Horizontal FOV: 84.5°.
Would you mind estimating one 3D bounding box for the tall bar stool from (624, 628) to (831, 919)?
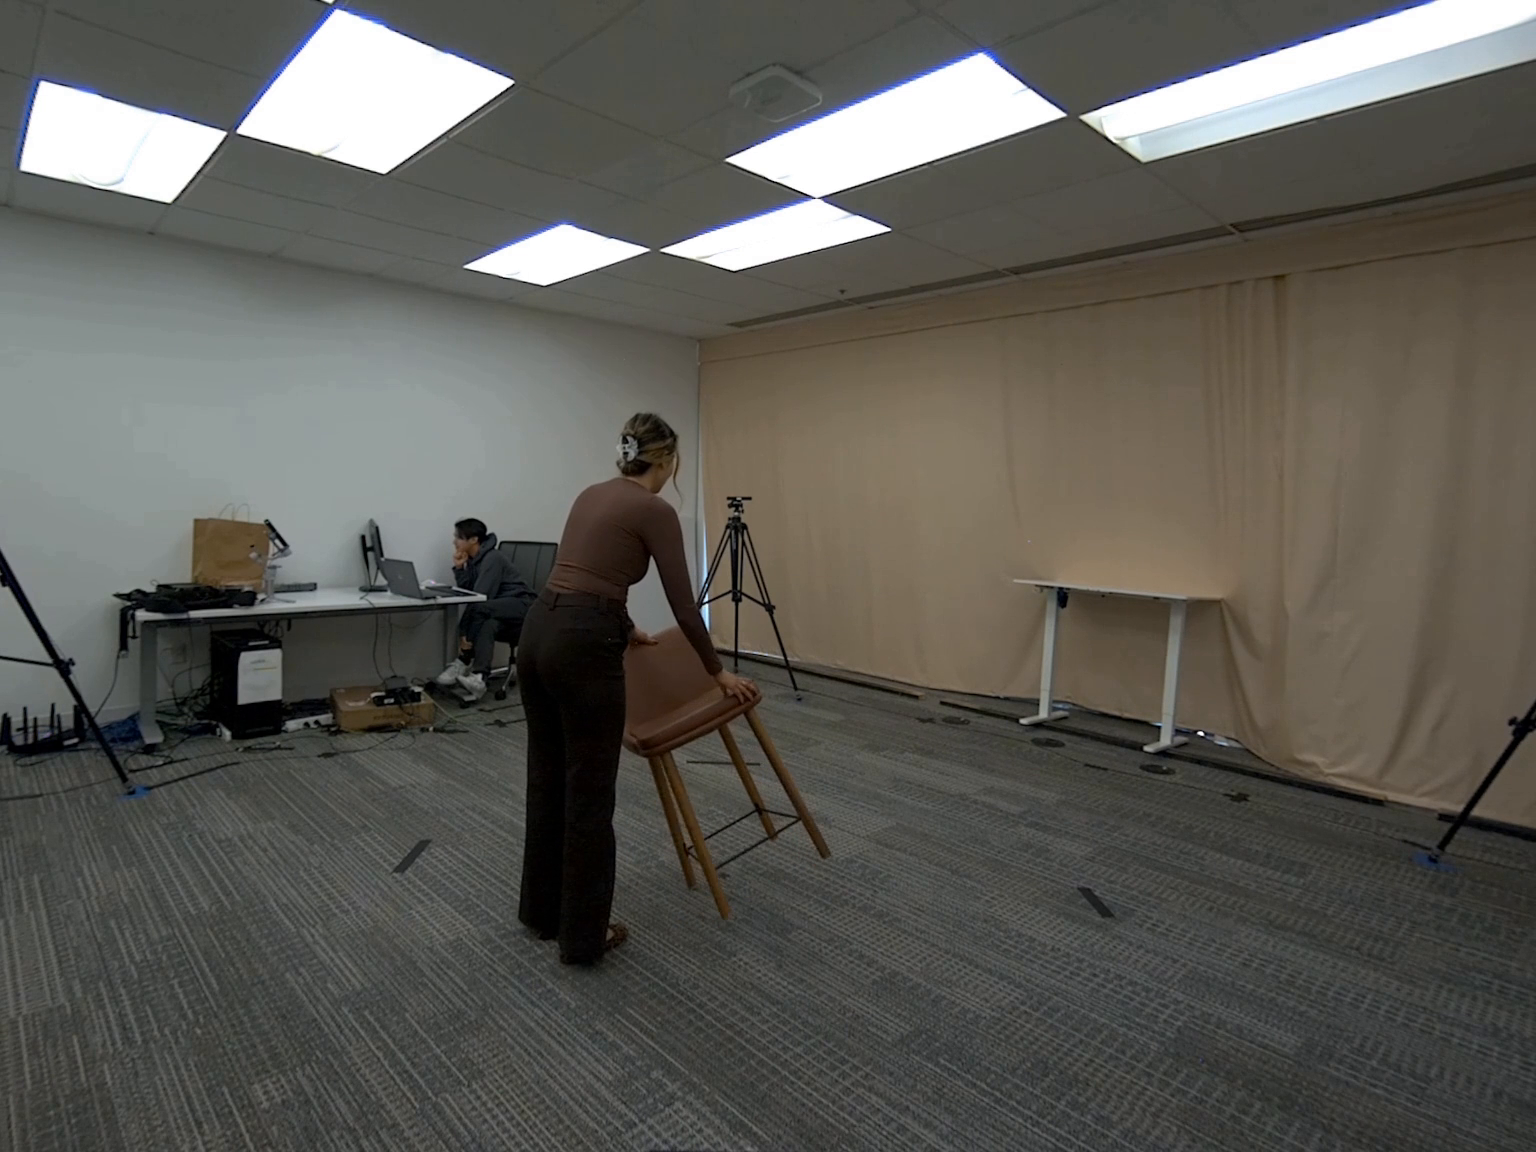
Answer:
[{"bbox_3d":[-0.222,0.619,2.888,0.452,0.892,0.471,-22,-3,-23],"label":"tall bar stool"}]
